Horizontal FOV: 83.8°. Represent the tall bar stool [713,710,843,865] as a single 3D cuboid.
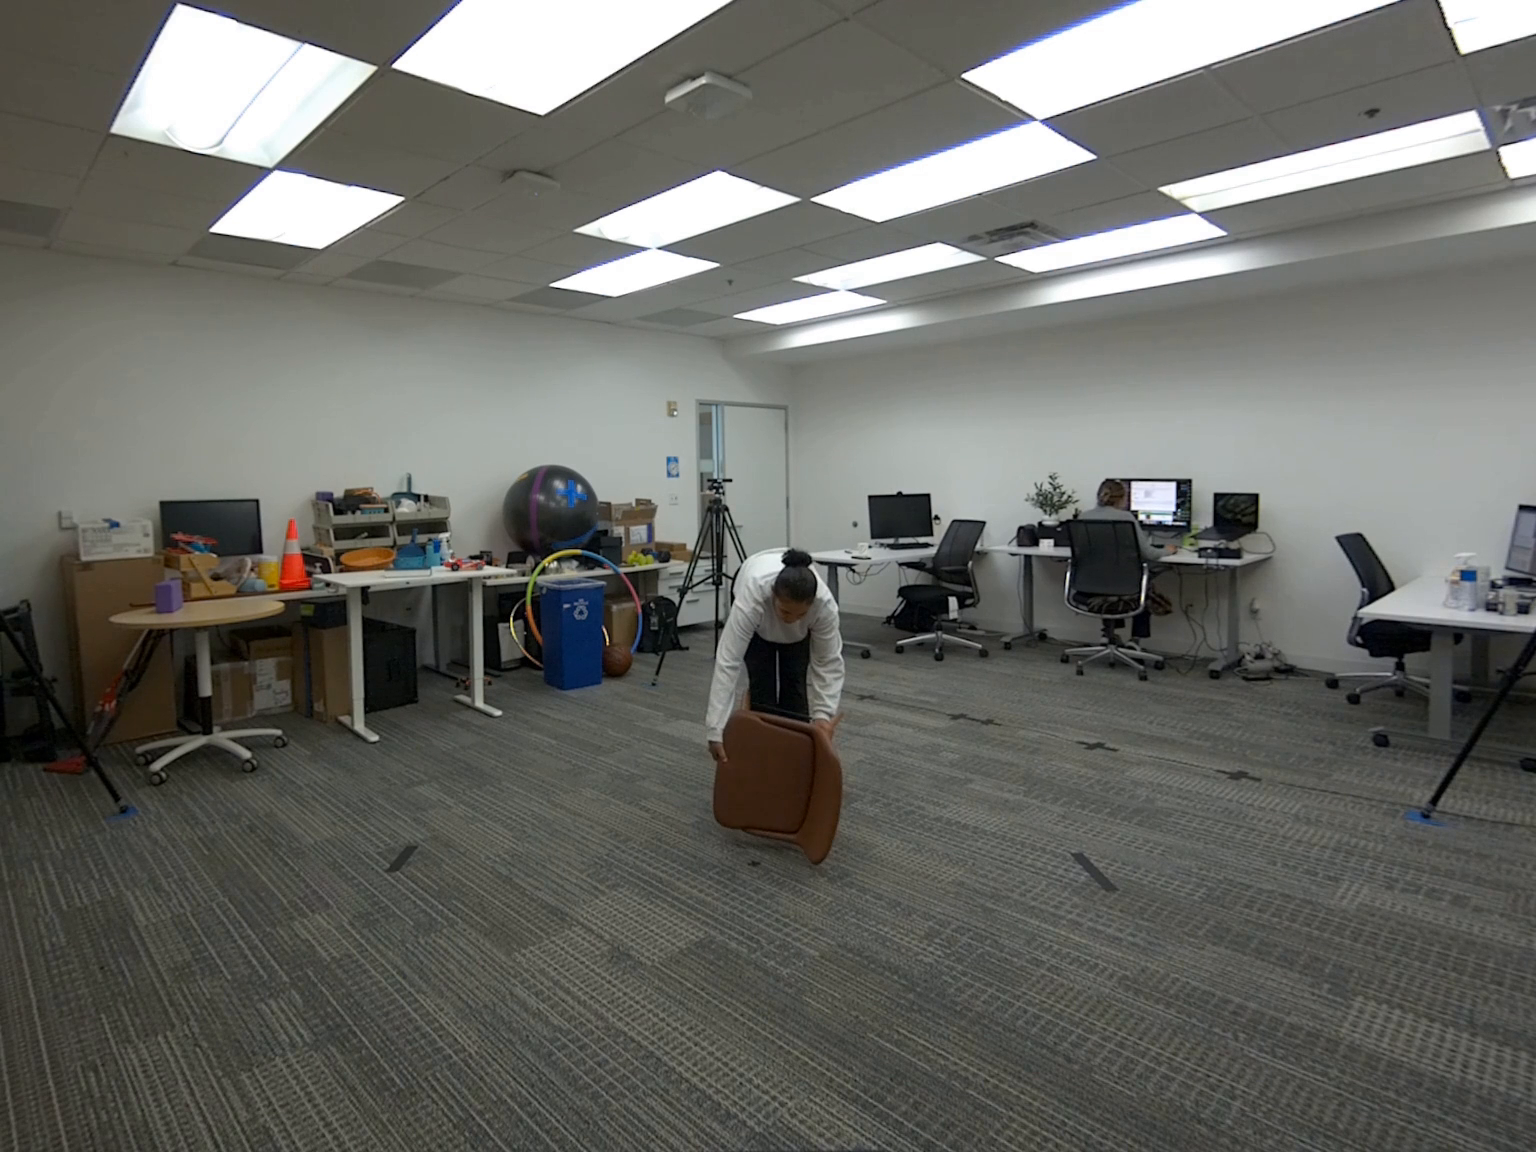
[{"bbox_3d":[0.042,0.765,3.373,0.471,0.456,0.885,10,3,5],"label":"tall bar stool"}]
